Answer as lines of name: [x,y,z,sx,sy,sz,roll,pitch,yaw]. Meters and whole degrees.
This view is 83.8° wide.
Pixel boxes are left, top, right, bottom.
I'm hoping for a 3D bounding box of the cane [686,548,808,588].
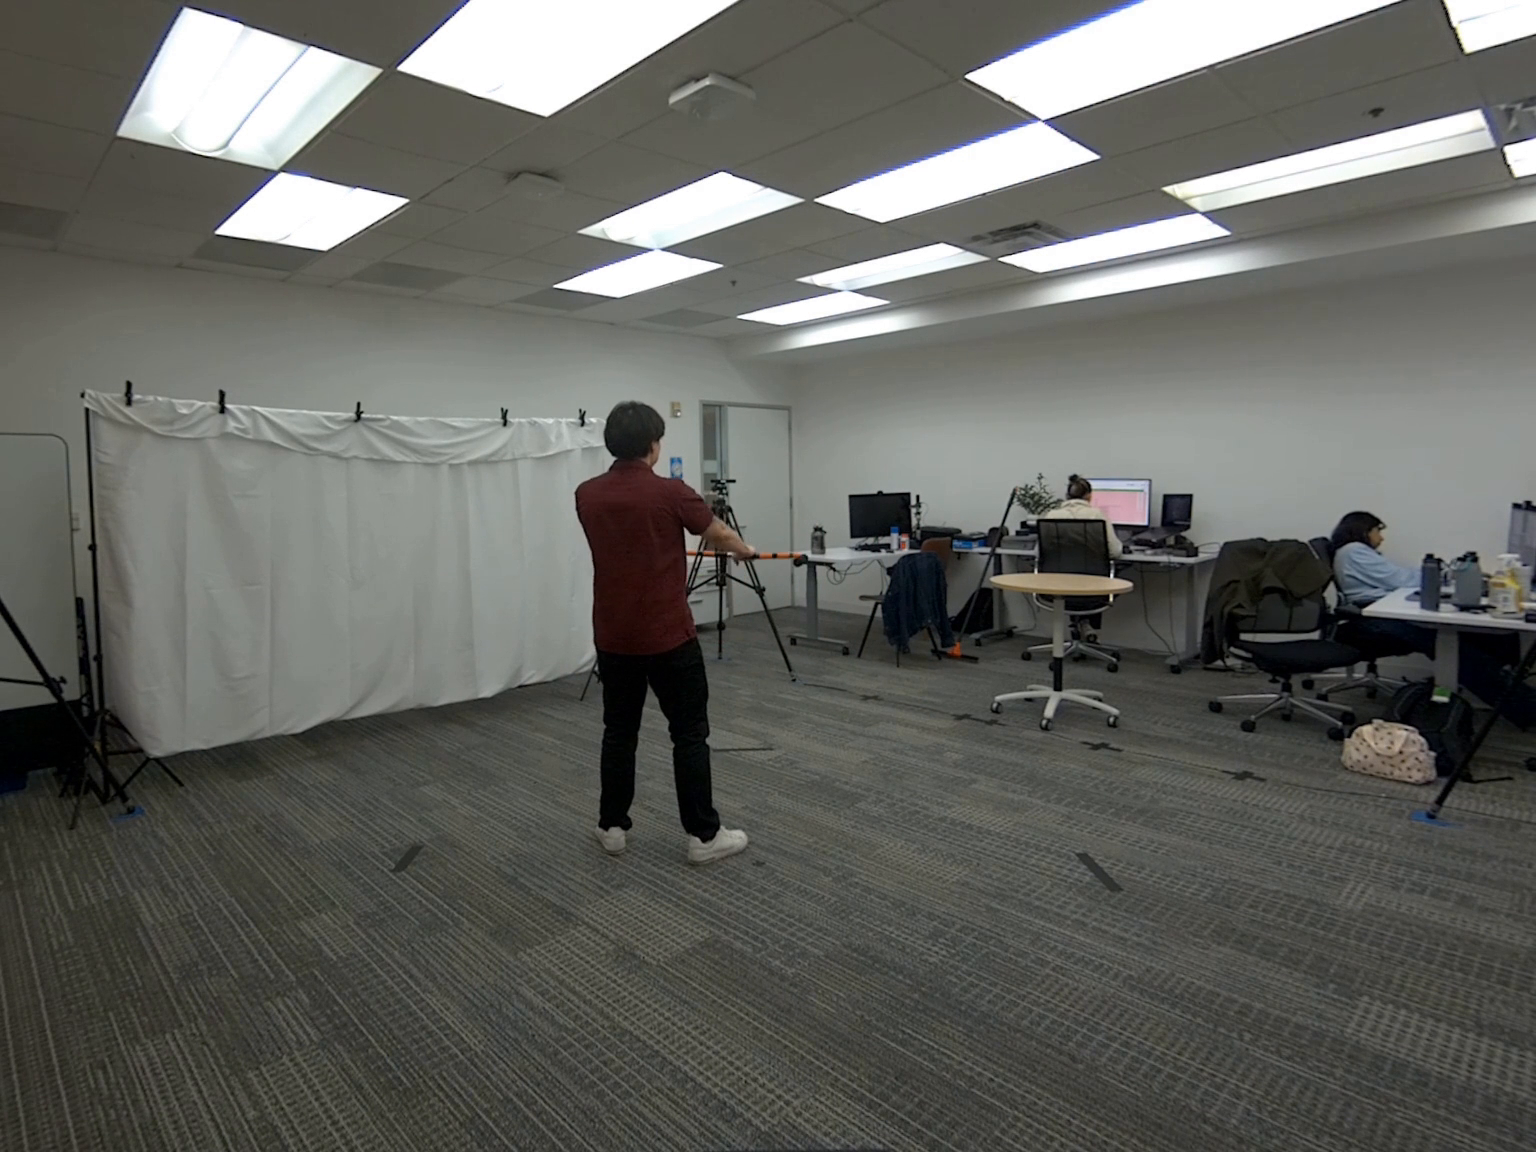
cane: [-0.275,-0.077,3.572,0.927,0.151,0.203,3,7,21]
